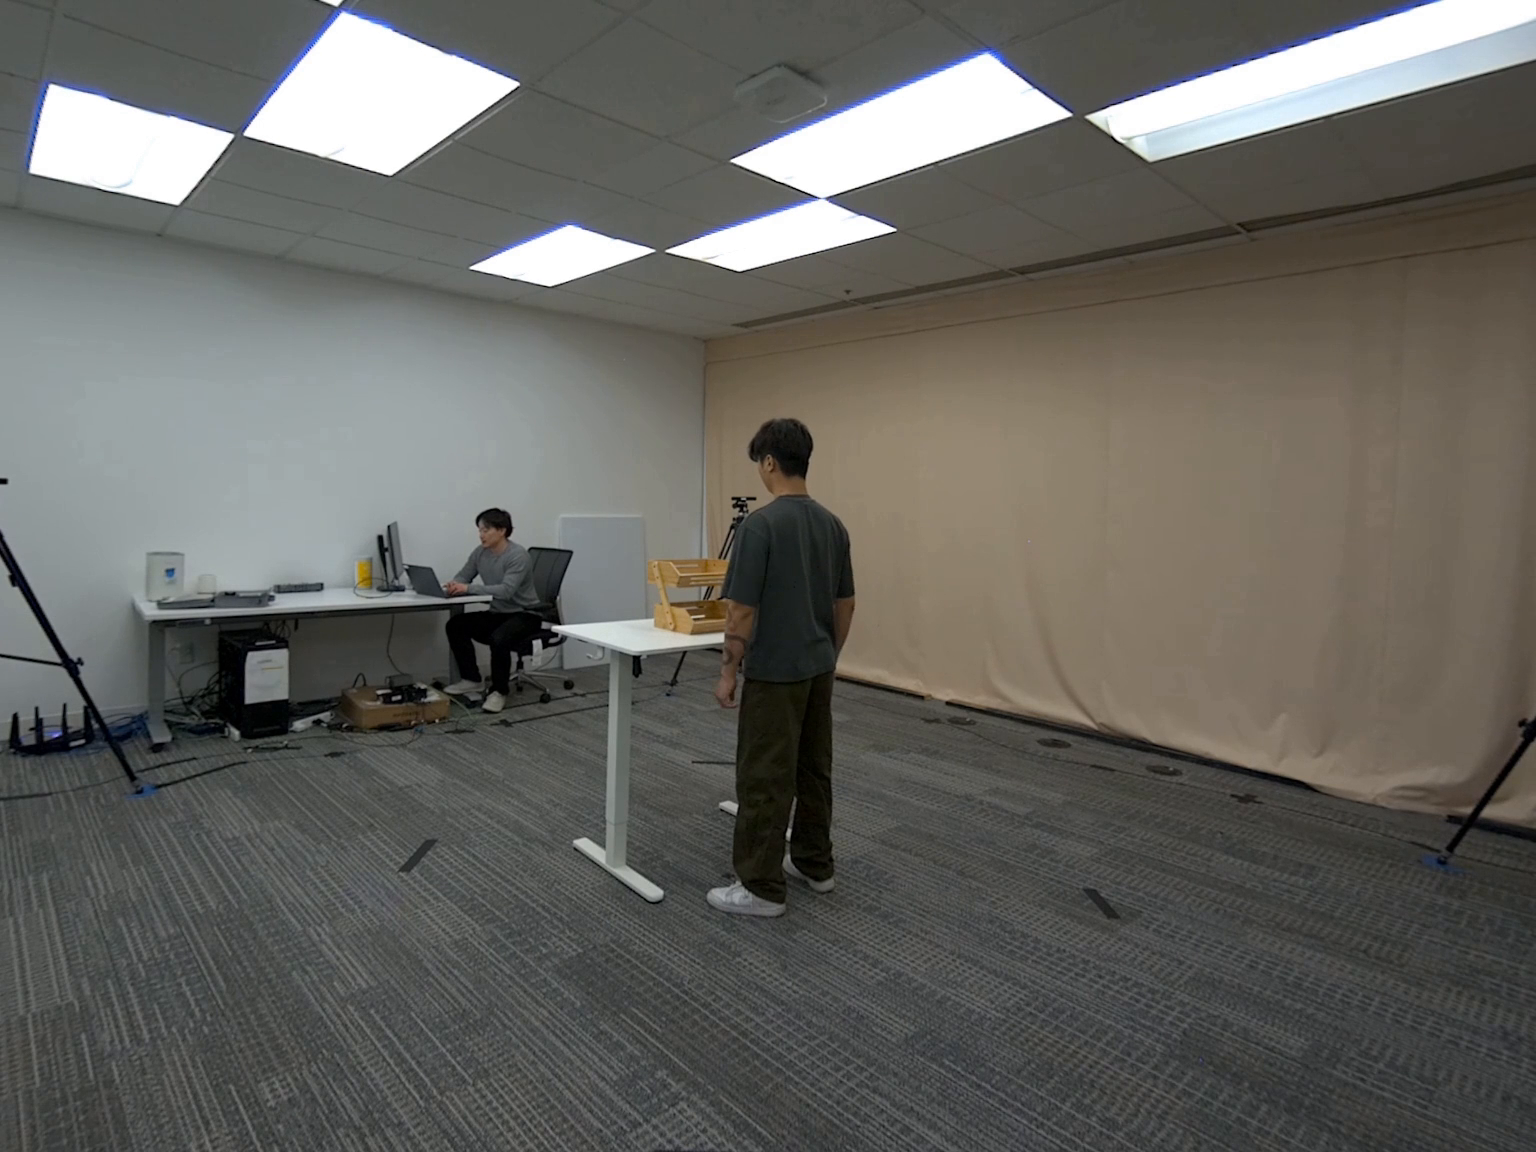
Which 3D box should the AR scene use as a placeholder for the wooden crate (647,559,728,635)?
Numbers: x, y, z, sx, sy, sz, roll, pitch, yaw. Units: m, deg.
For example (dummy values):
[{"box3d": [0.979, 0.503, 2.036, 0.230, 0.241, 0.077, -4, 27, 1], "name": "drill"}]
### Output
[{"box3d": [-0.275, 0.070, 3.311, 0.317, 0.273, 0.310, -2, 5, -42], "name": "wooden crate"}]
